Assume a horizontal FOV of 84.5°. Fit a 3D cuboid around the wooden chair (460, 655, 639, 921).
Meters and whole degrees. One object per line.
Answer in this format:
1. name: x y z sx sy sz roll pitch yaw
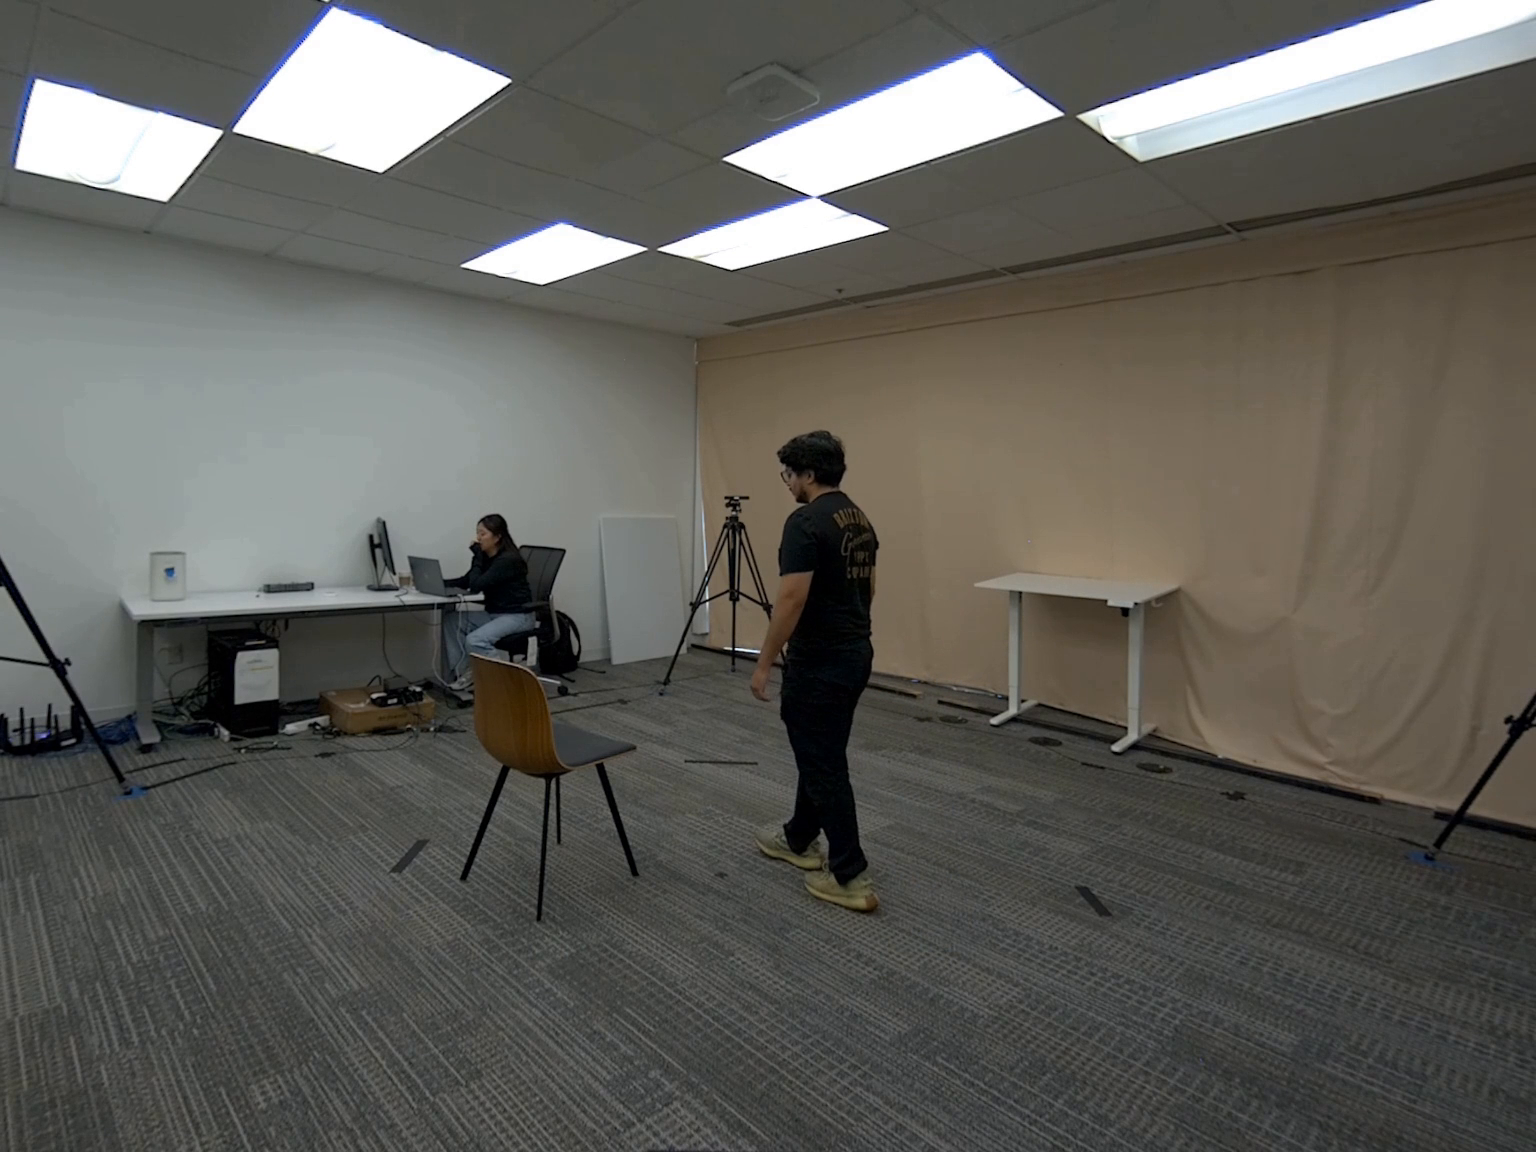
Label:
1. wooden chair: -0.770 0.667 3.024 0.490 0.873 0.513 3 8 38
